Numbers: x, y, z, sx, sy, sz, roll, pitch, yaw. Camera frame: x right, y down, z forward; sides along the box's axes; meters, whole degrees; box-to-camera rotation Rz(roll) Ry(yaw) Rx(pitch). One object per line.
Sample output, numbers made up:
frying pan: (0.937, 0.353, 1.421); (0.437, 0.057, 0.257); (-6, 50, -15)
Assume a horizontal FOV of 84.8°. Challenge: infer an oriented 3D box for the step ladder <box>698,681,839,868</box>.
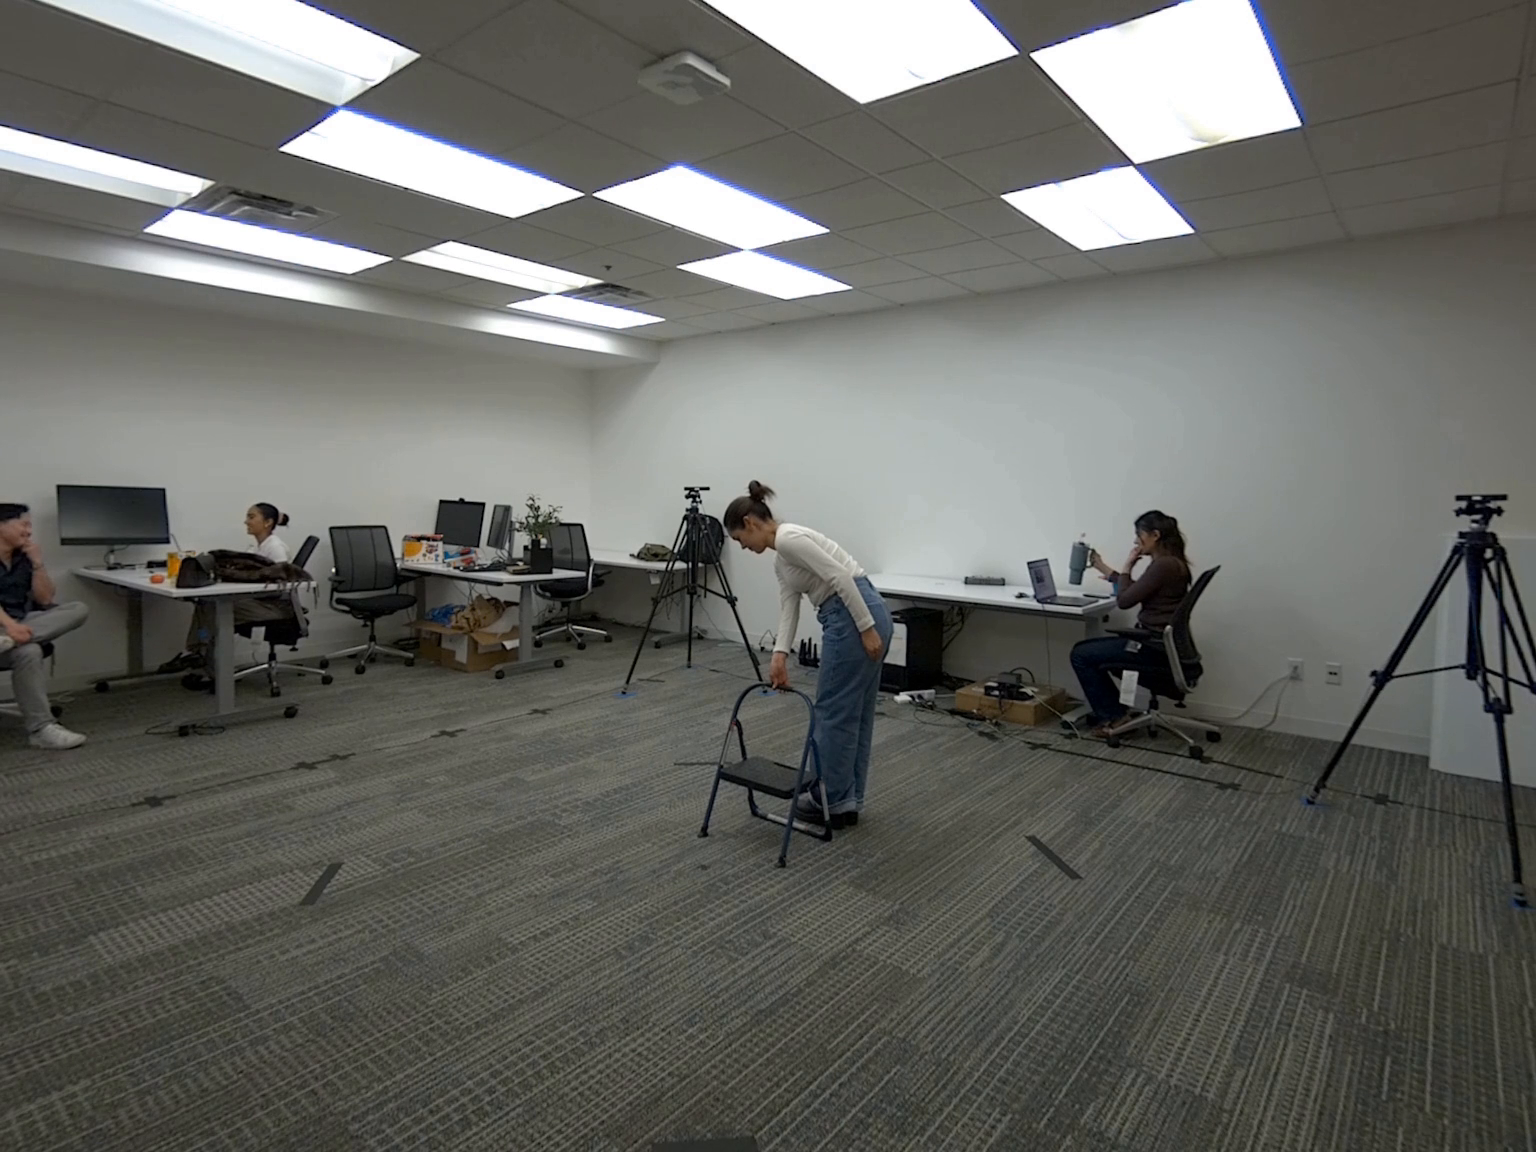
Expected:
step ladder: (-0.008, 0.741, 3.370); (0.445, 0.604, 0.339); (4, 5, 40)
